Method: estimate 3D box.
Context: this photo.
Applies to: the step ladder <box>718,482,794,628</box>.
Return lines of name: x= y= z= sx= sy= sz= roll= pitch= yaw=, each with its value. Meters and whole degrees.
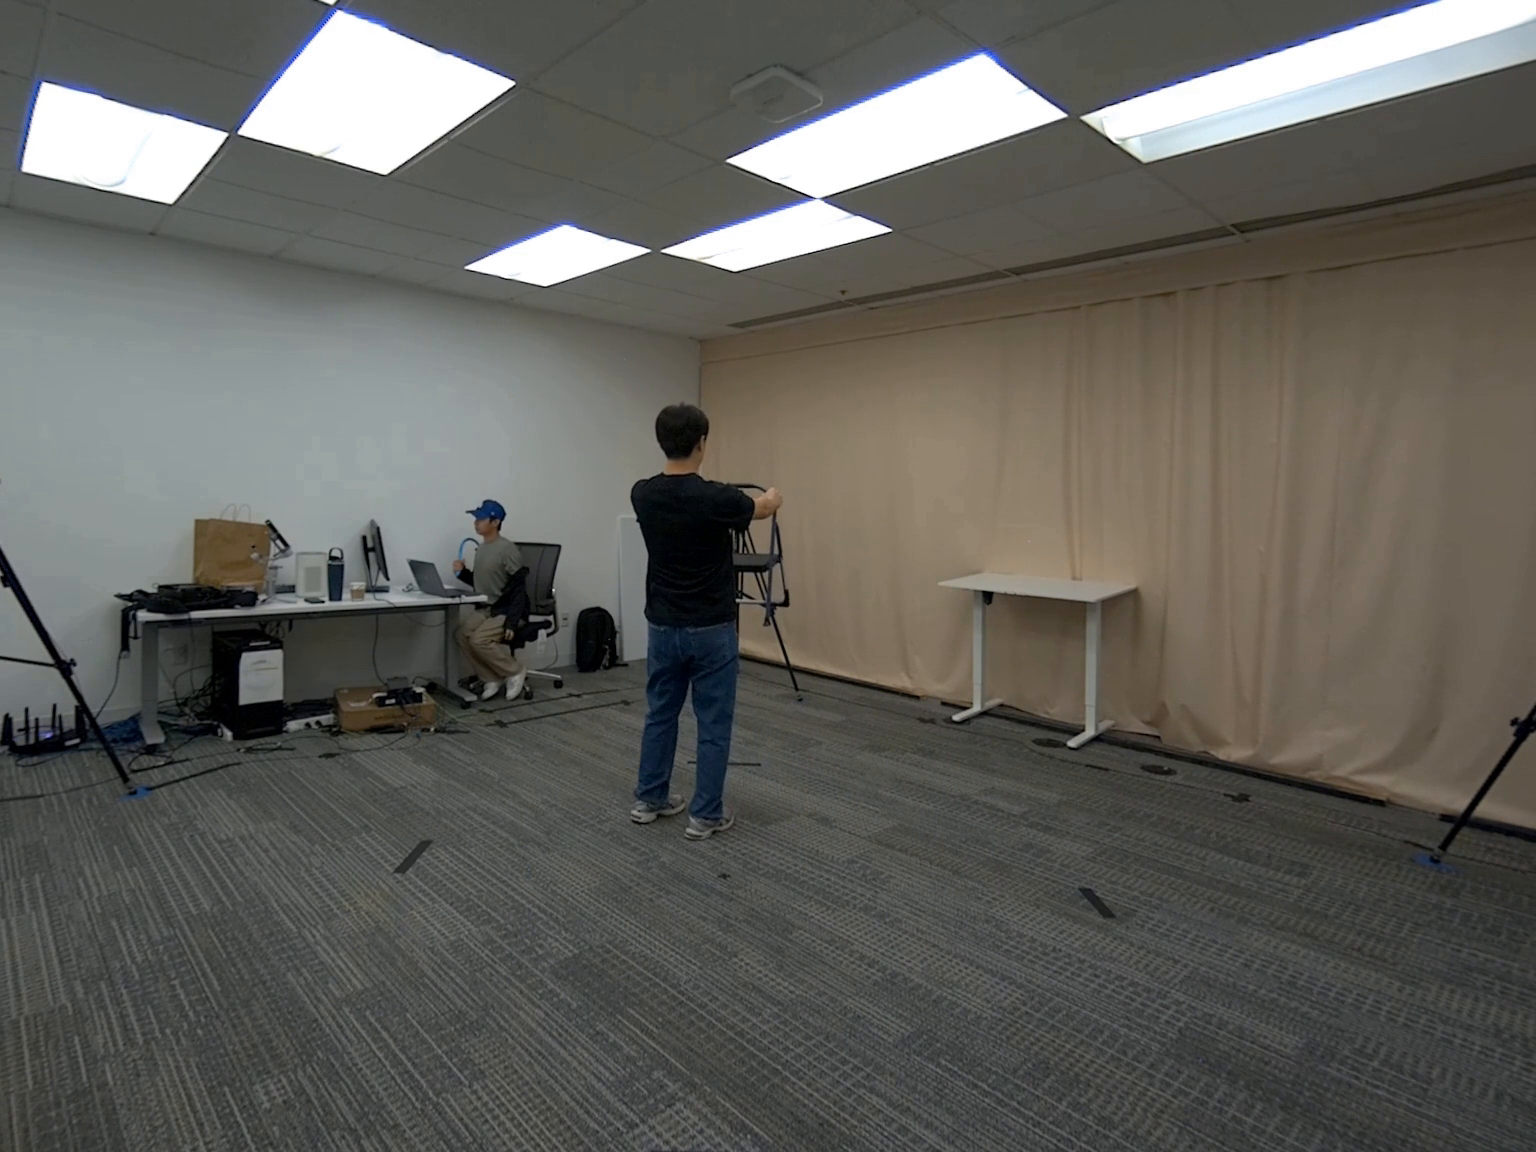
step ladder: x=-0.149 y=-0.116 z=3.911 sx=0.437 sy=0.601 sz=0.346 roll=2 pitch=11 yaw=20
